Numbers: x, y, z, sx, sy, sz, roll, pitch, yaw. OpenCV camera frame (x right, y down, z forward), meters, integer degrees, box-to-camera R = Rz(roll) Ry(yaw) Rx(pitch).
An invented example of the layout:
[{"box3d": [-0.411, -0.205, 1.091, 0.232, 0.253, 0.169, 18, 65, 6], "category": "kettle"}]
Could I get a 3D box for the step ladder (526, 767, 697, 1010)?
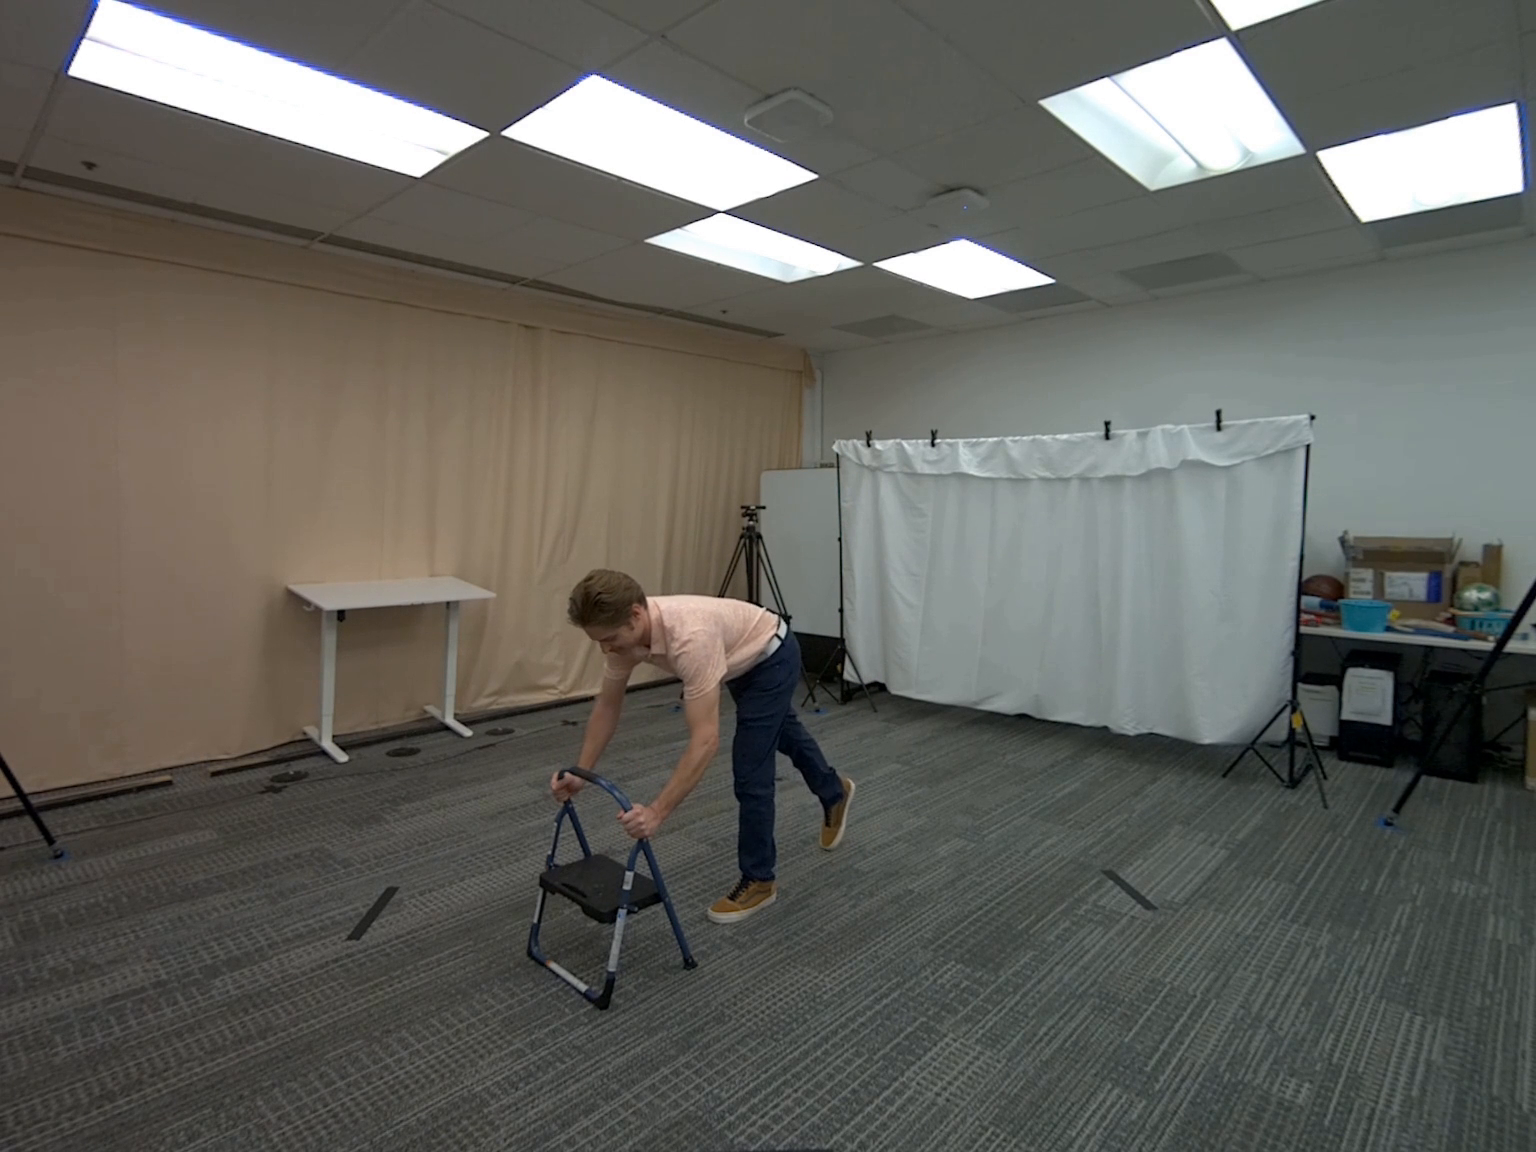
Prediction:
[{"box3d": [-0.484, 0.882, 2.568, 0.445, 0.605, 0.338, 3, 4, 44], "category": "step ladder"}]
